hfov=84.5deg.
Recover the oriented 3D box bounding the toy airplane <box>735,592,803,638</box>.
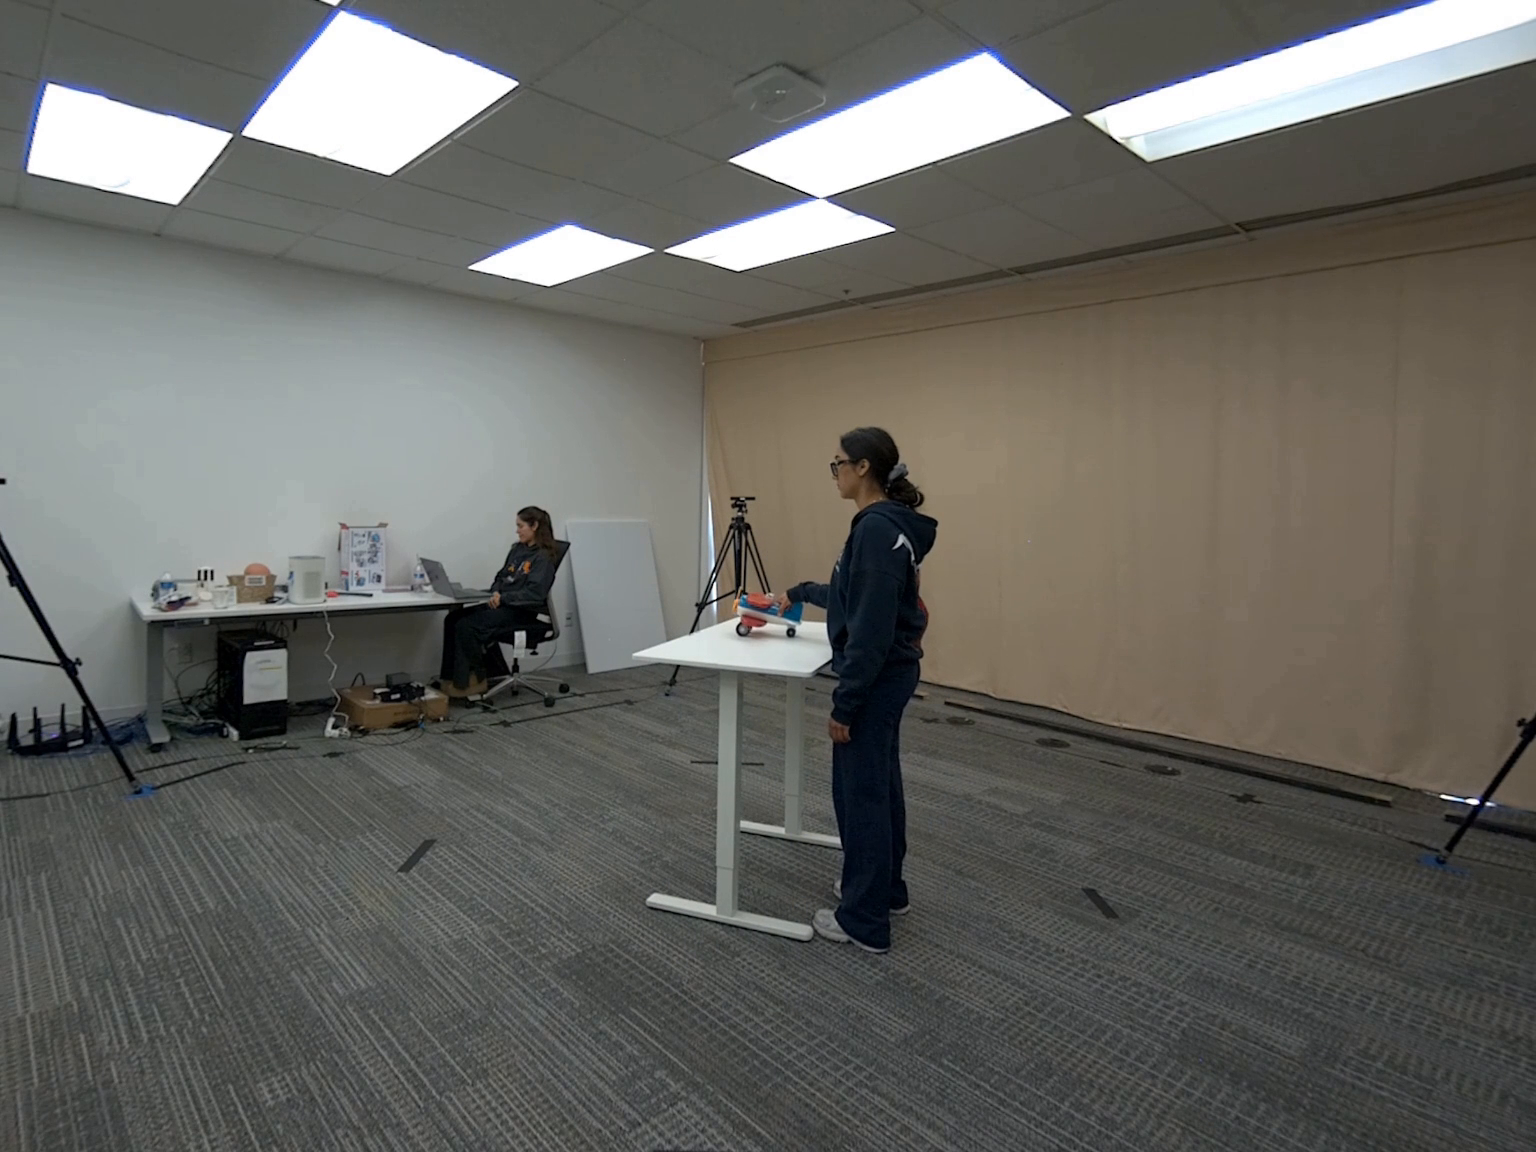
[{"bbox_3d":[-0.011,0.144,3.182,0.255,0.156,0.256,-3,7,-26],"label":"toy airplane"}]
